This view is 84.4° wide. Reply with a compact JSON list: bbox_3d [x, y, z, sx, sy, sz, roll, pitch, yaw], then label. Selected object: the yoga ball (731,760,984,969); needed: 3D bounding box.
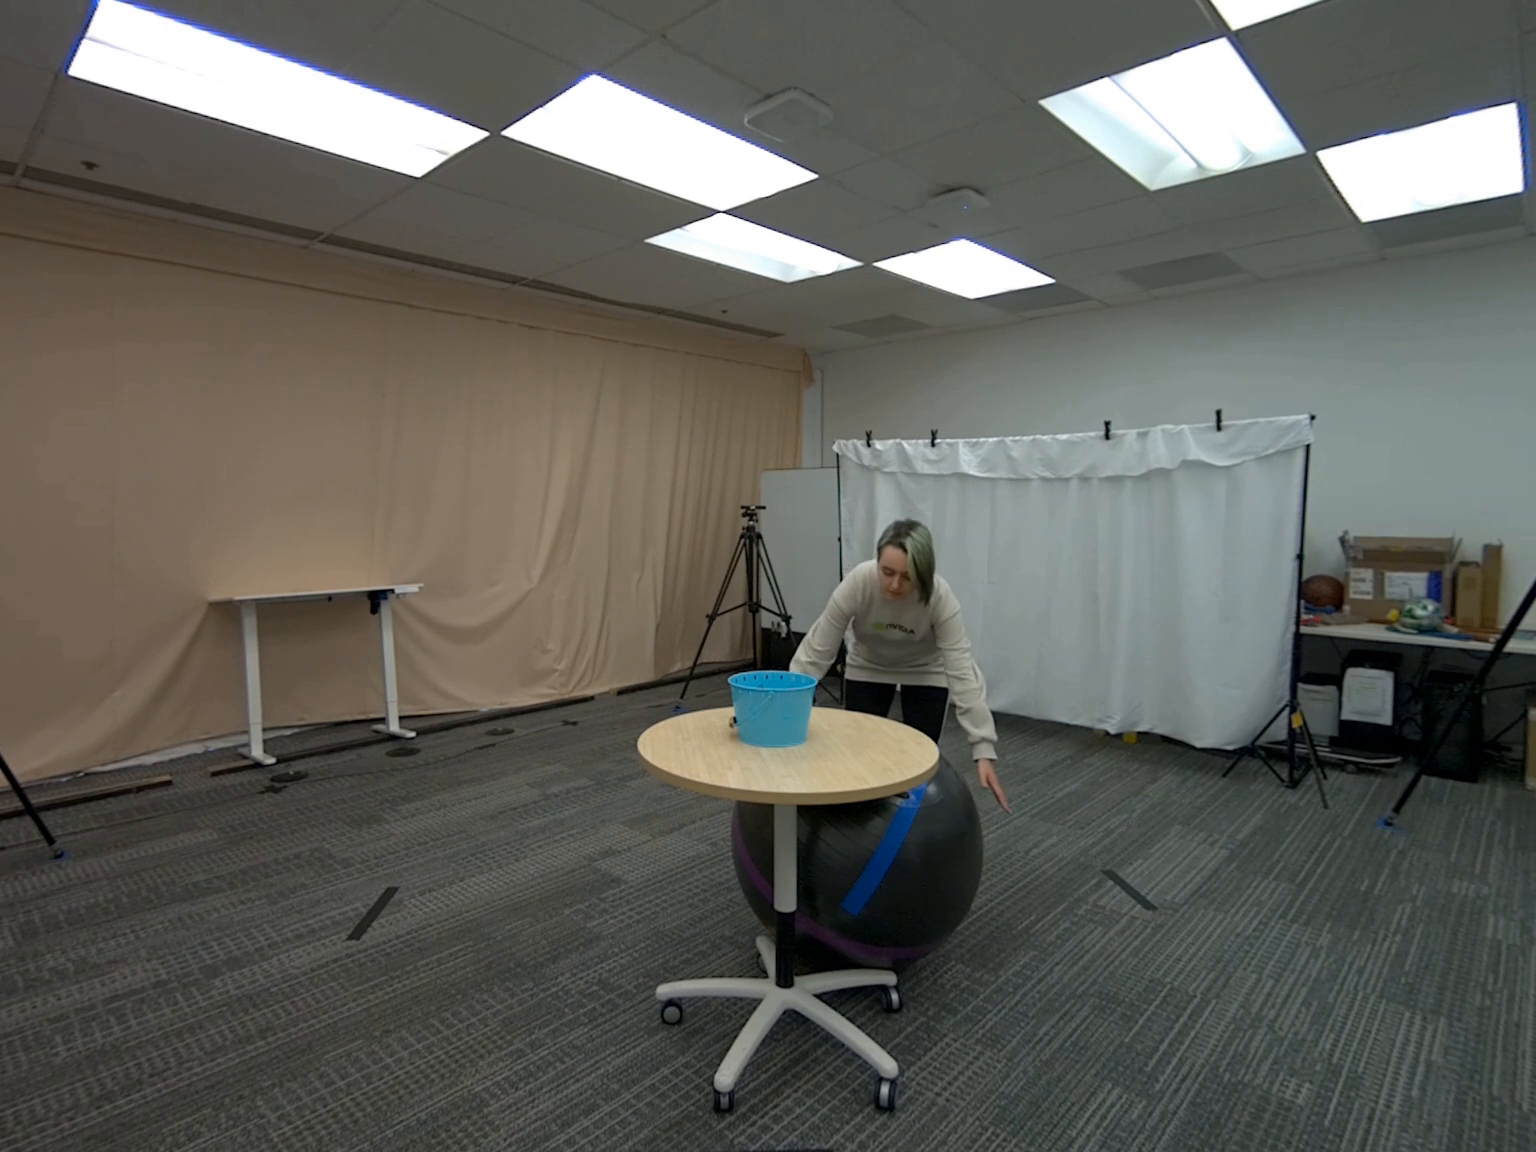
[{"bbox_3d":[0.277,0.809,2.589,0.757,0.756,0.760,0,4,-2],"label":"yoga ball"}]
